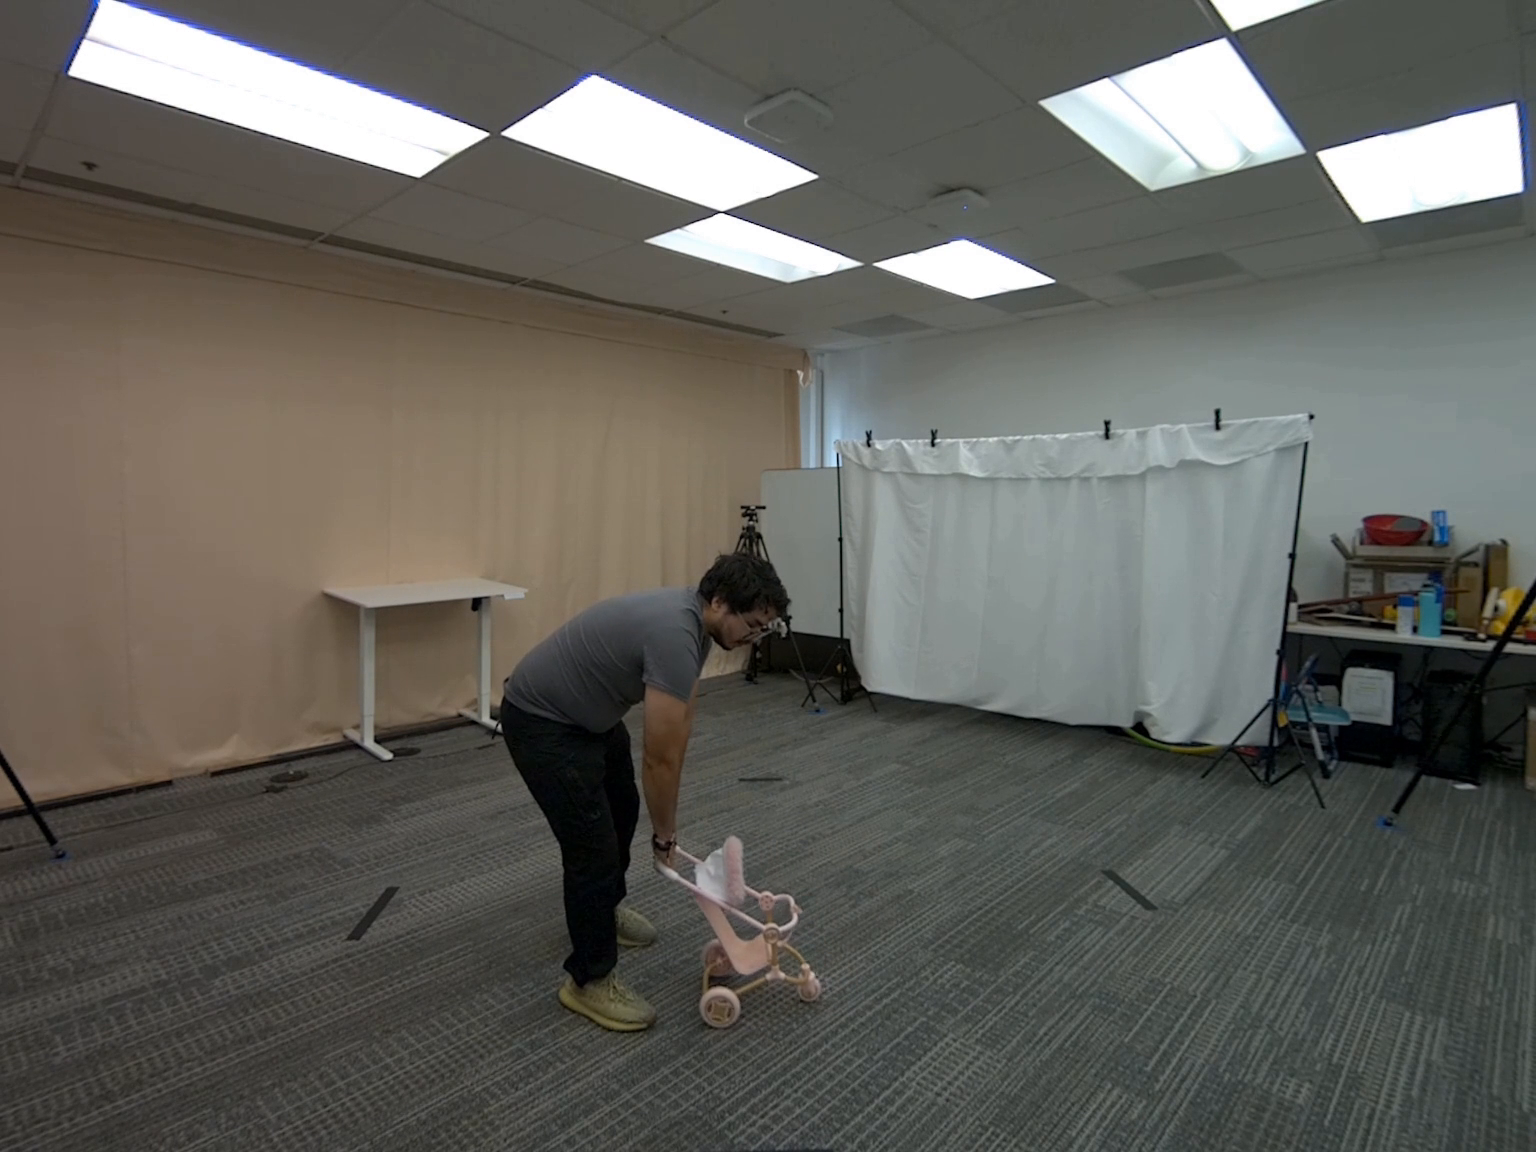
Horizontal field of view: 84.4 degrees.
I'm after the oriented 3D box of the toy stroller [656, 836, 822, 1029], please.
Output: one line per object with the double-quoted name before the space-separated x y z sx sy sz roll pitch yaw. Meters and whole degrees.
"toy stroller" -0.062 0.979 2.355 0.342 0.534 0.282 -15 3 1
